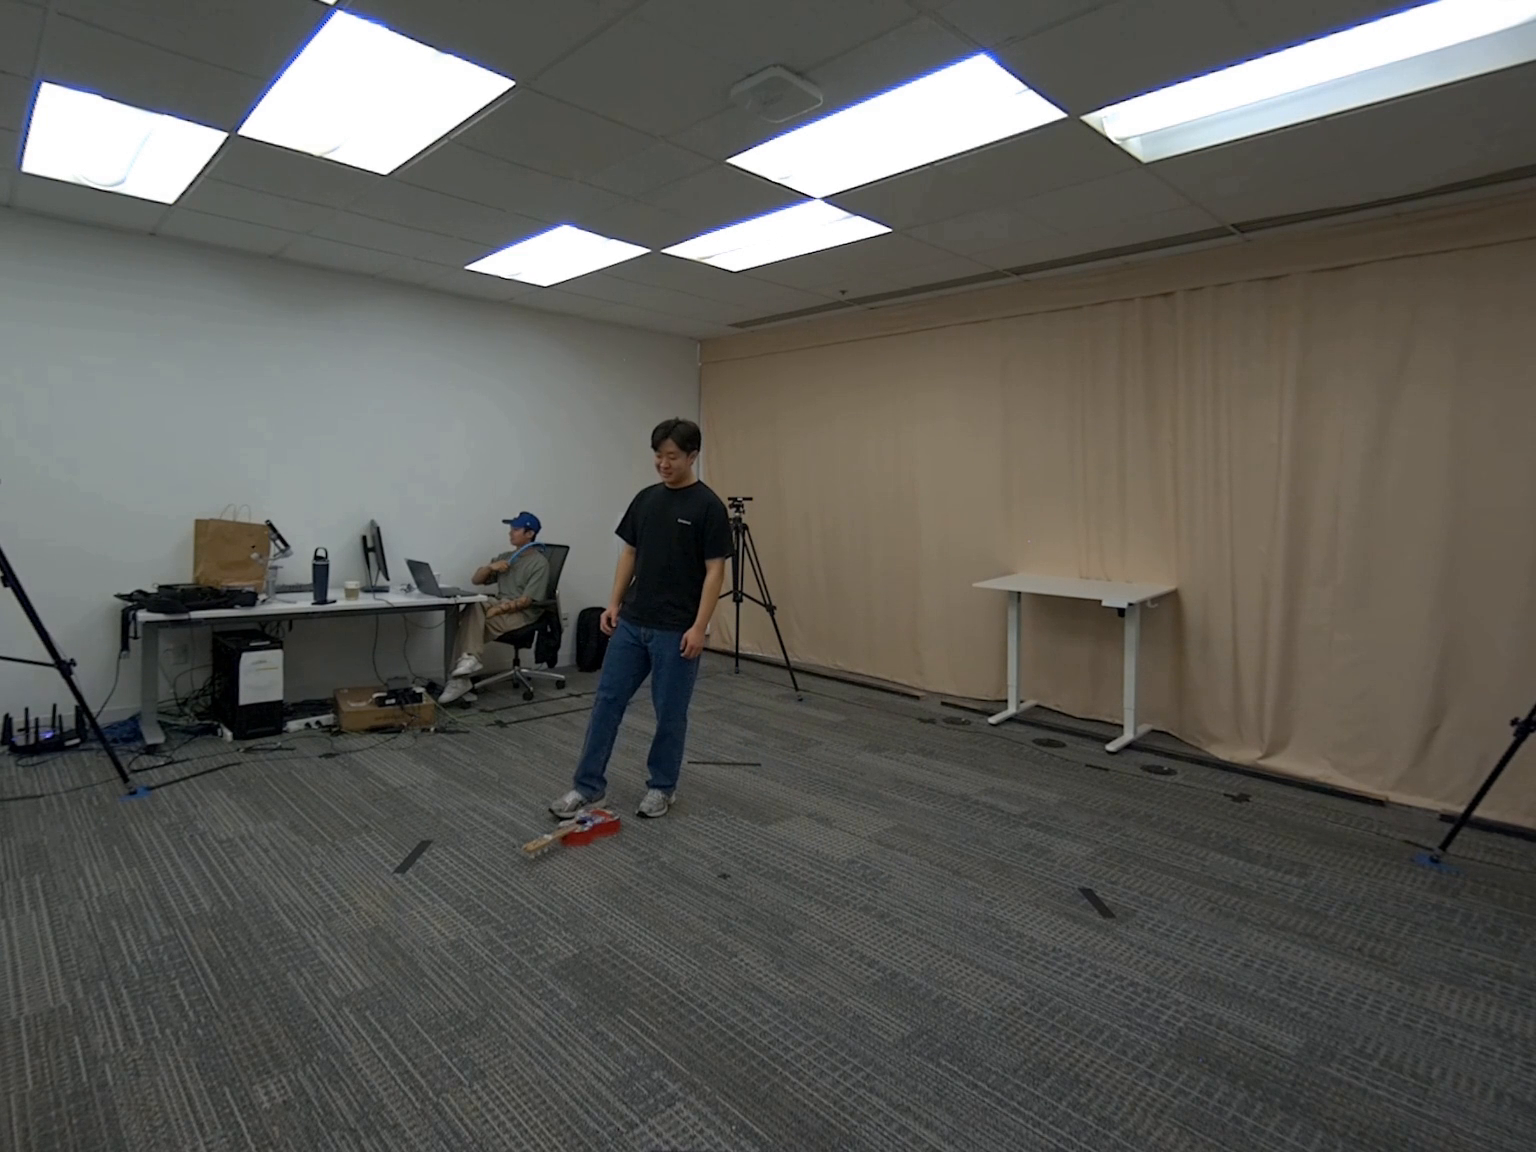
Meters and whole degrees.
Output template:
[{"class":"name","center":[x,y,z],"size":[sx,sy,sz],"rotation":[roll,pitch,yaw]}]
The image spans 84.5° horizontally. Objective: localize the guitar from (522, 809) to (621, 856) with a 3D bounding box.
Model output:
[{"class":"guitar","center":[-0.827,1.033,3.388],"size":[0.198,0.070,0.487],"rotation":[5,6,37]}]
